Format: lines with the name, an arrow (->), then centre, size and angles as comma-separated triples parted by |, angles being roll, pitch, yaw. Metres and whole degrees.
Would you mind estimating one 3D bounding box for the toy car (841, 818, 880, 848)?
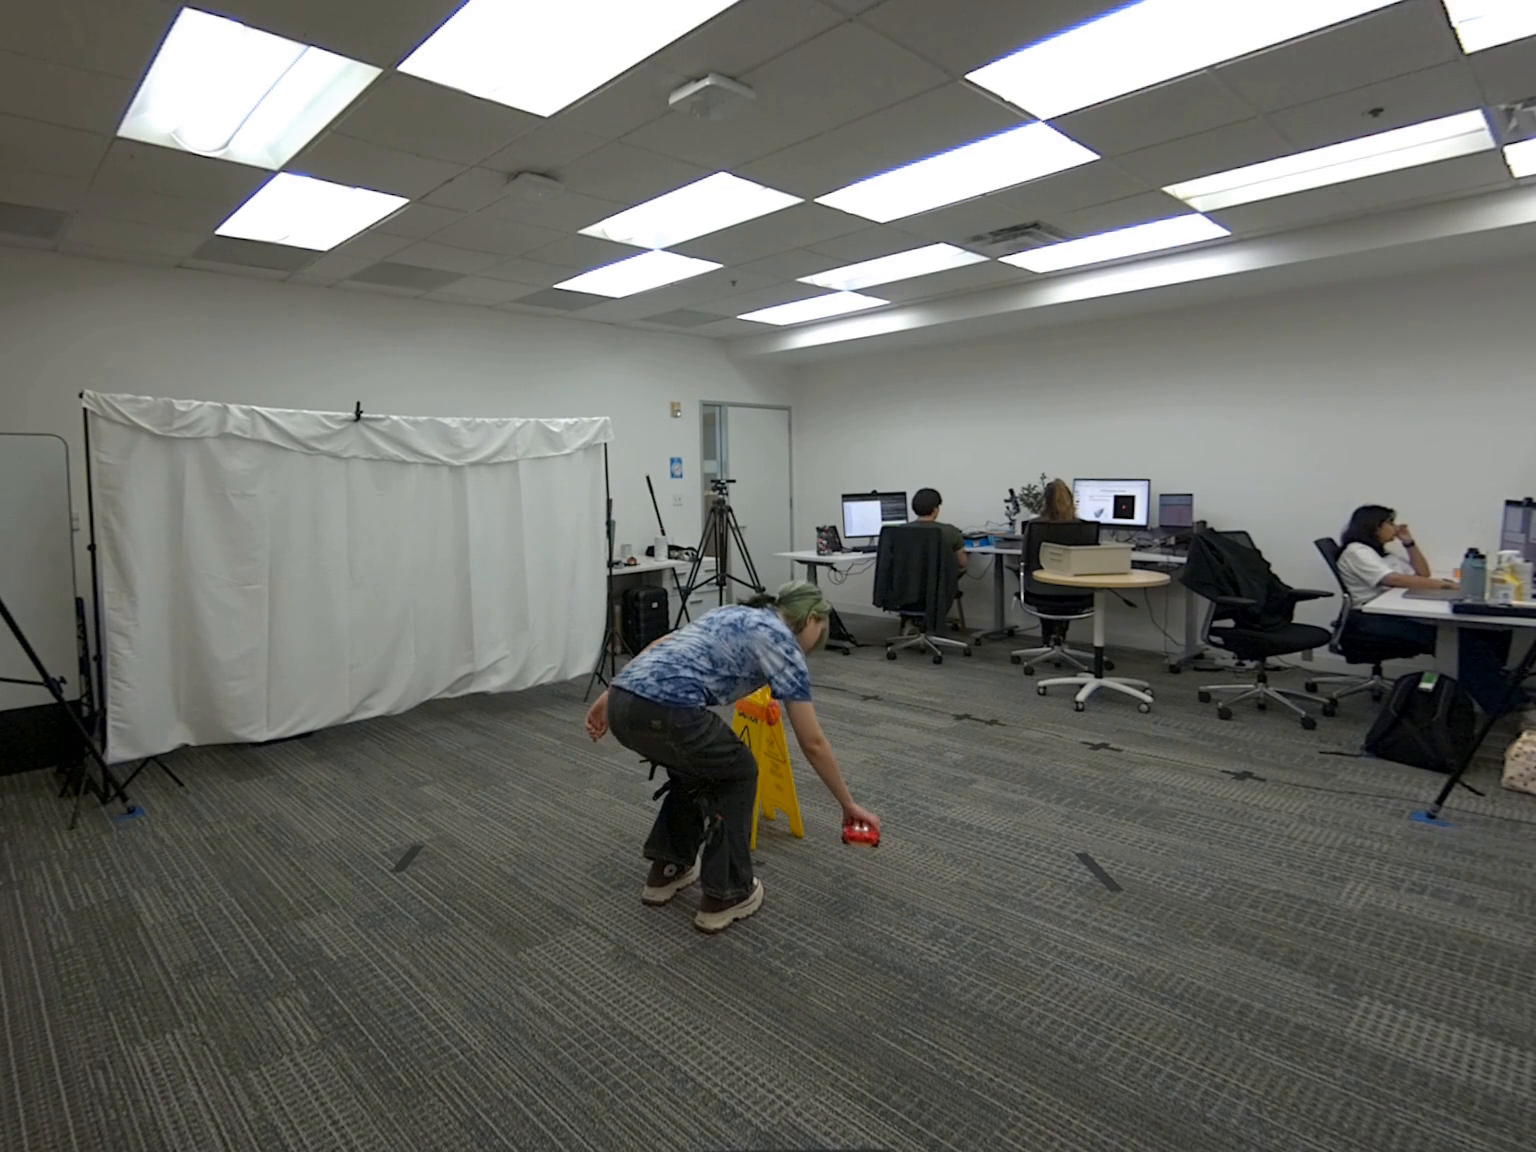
toy car -> 0.305, 0.834, 2.809 | 0.131, 0.084, 0.250 | 3, -7, 9
